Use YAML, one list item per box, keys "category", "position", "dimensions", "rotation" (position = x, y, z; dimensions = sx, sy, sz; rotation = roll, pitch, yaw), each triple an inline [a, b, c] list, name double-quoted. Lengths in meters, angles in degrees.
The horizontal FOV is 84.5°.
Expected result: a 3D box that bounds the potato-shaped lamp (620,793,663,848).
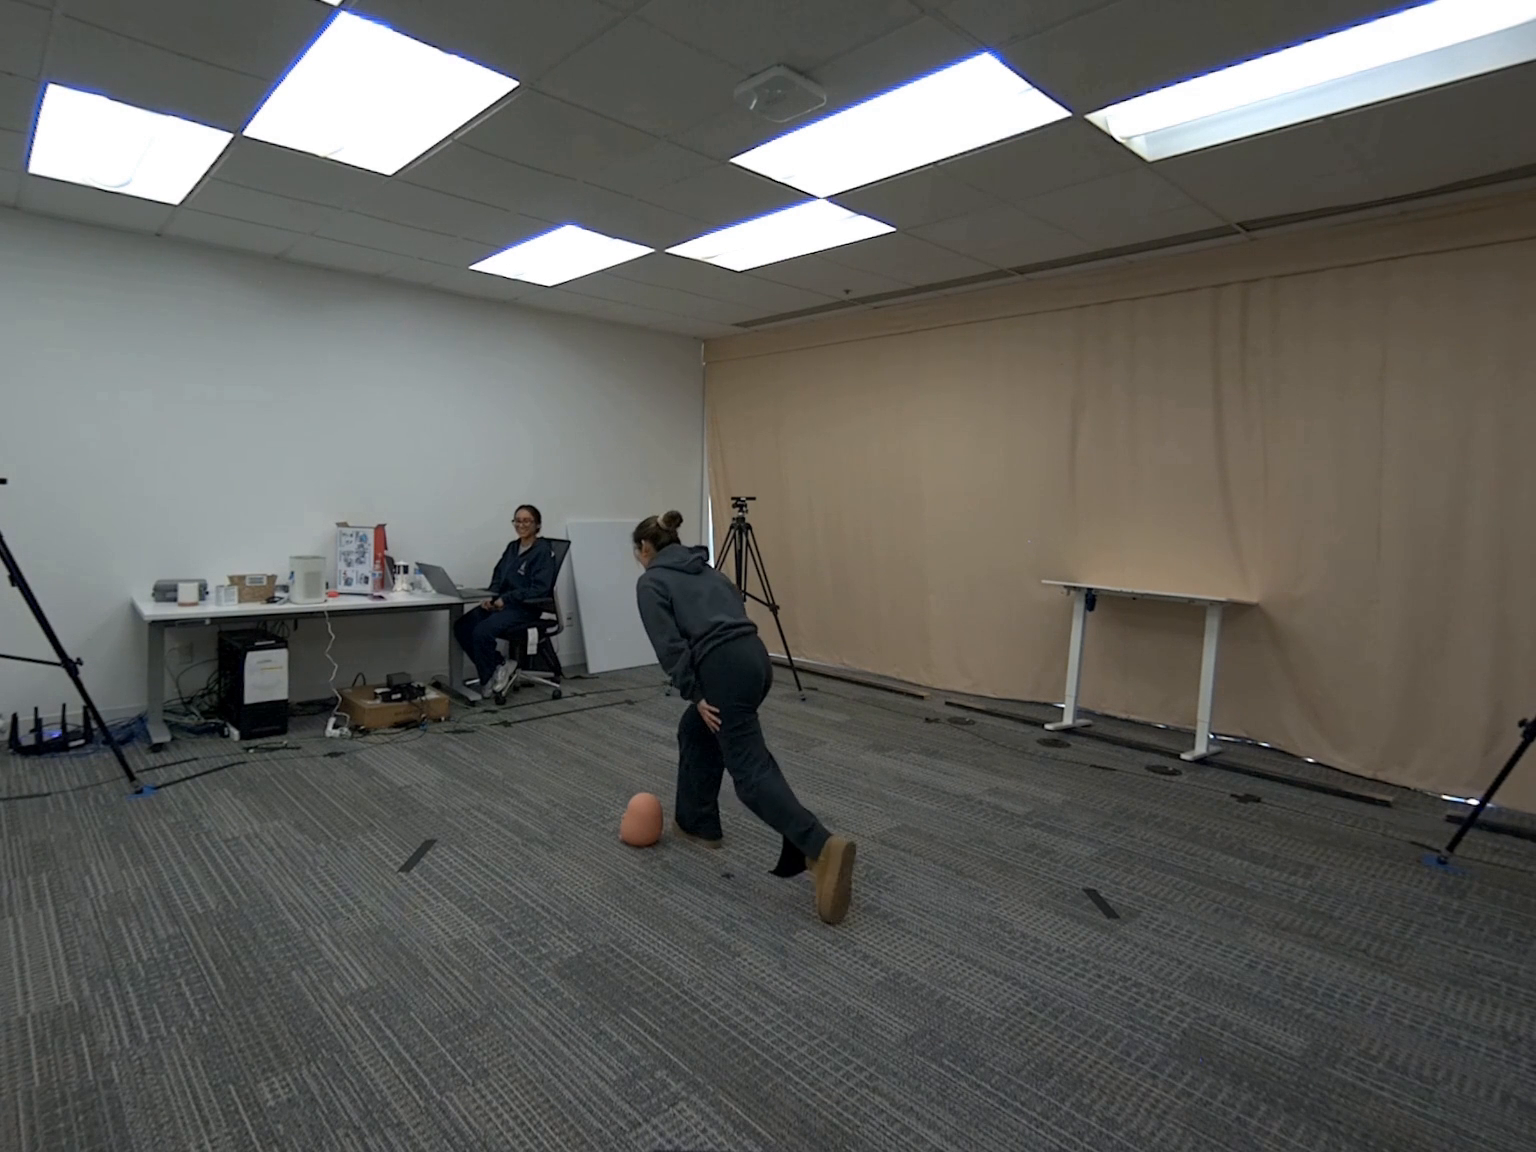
- category: "potato-shaped lamp"
  position: [-0.516, 0.973, 3.395]
  dimensions: [0.176, 0.198, 0.161]
  rotation: [8, 4, 41]
